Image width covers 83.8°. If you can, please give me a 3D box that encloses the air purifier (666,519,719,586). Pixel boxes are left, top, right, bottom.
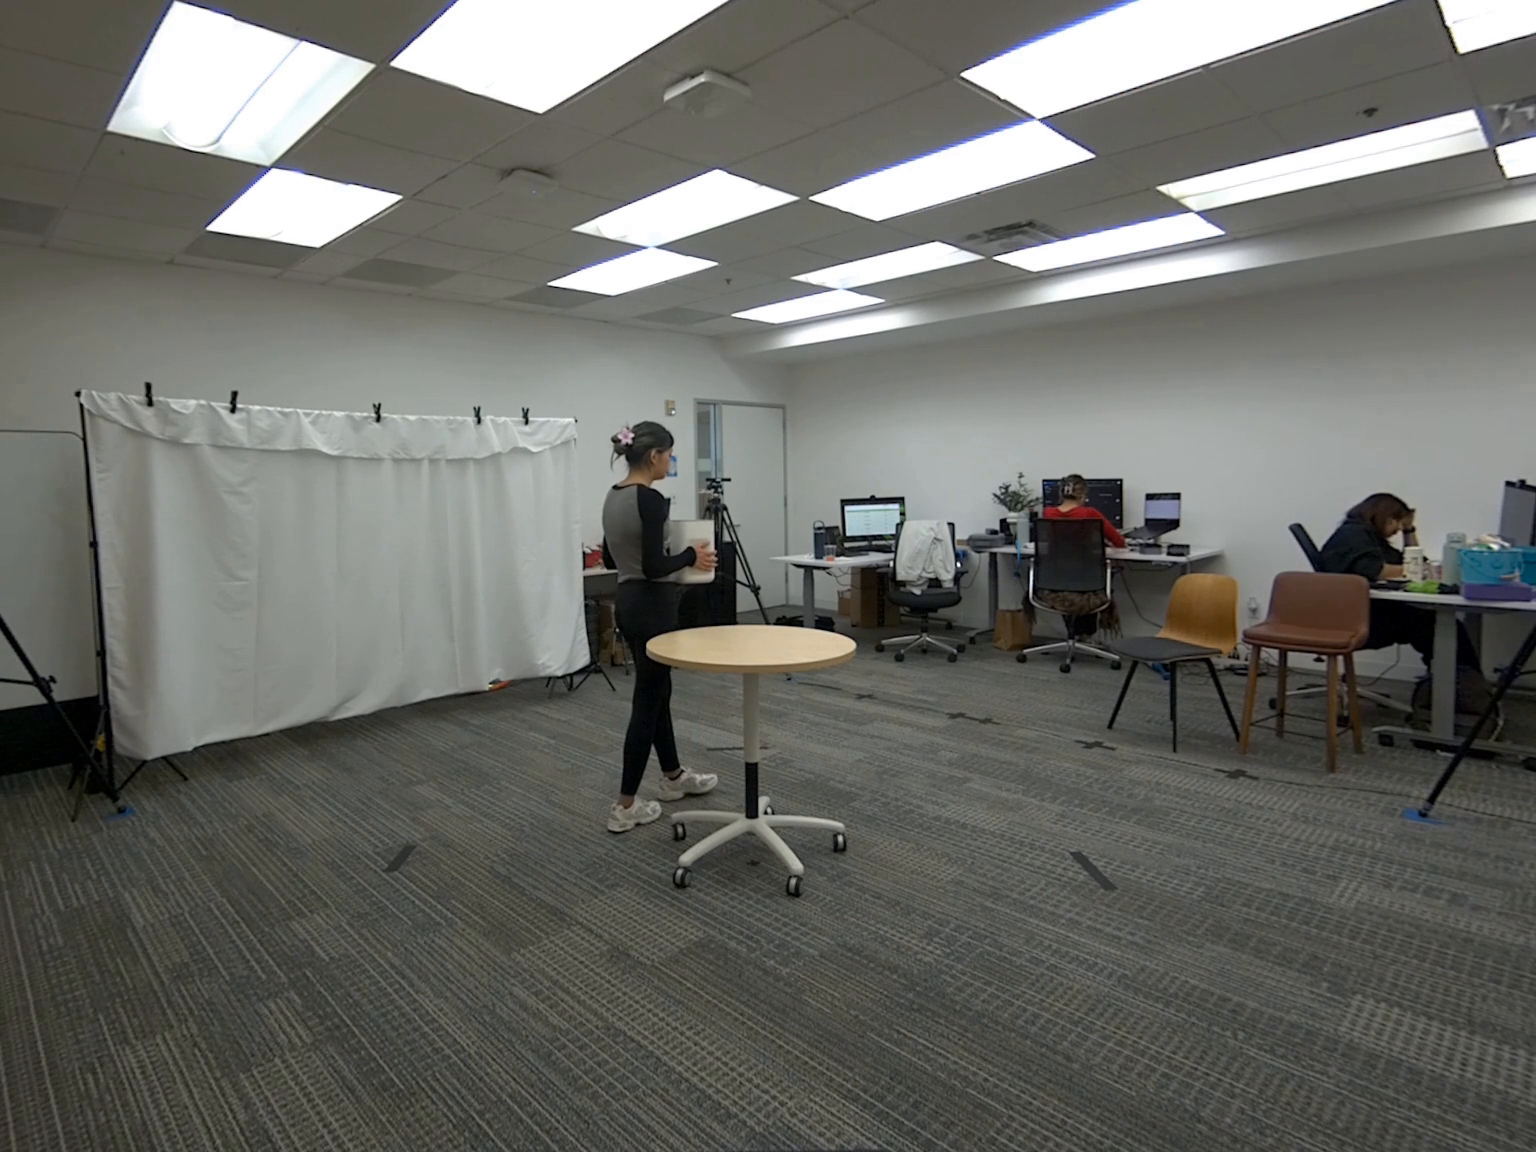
[{"bbox_3d":[-0.321,-0.105,3.617,0.168,0.265,0.175,-1,3,-22],"label":"air purifier"}]
